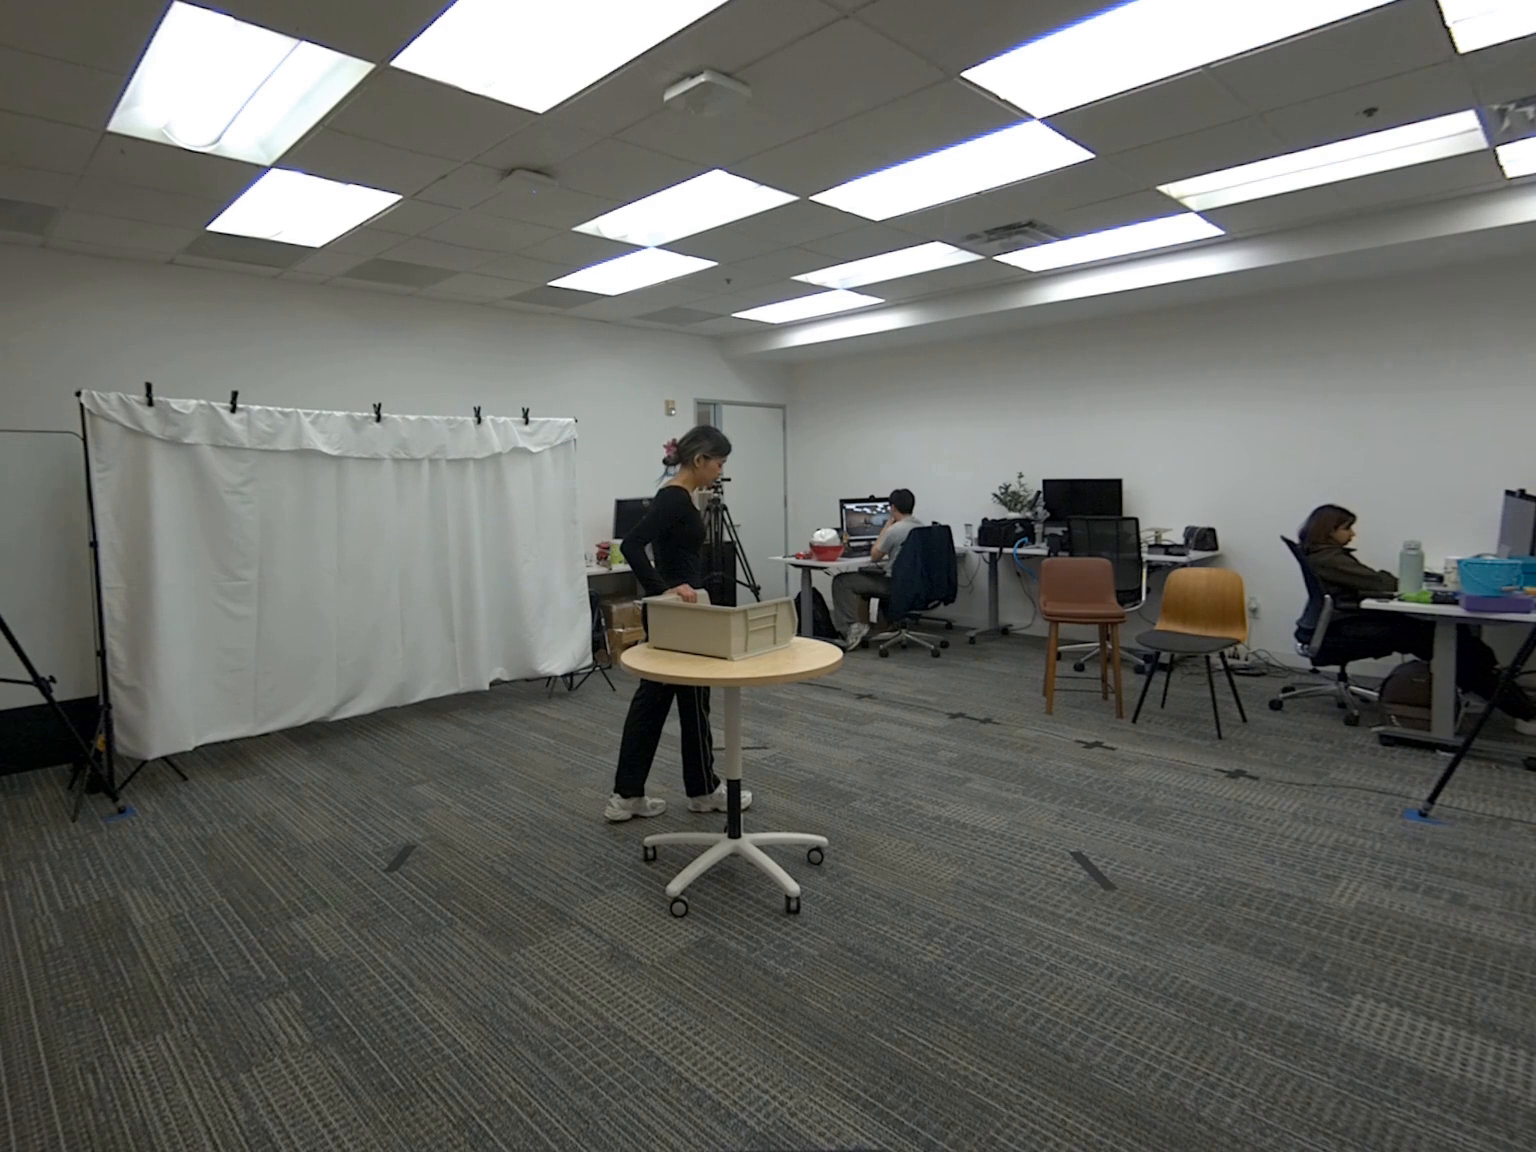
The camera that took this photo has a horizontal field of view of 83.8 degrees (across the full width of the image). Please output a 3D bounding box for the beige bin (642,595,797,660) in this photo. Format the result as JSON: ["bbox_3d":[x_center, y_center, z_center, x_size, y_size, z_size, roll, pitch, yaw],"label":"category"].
[{"bbox_3d":[-0.171,0.164,3.074,0.435,0.188,0.368,4,9,37],"label":"beige bin"}]
